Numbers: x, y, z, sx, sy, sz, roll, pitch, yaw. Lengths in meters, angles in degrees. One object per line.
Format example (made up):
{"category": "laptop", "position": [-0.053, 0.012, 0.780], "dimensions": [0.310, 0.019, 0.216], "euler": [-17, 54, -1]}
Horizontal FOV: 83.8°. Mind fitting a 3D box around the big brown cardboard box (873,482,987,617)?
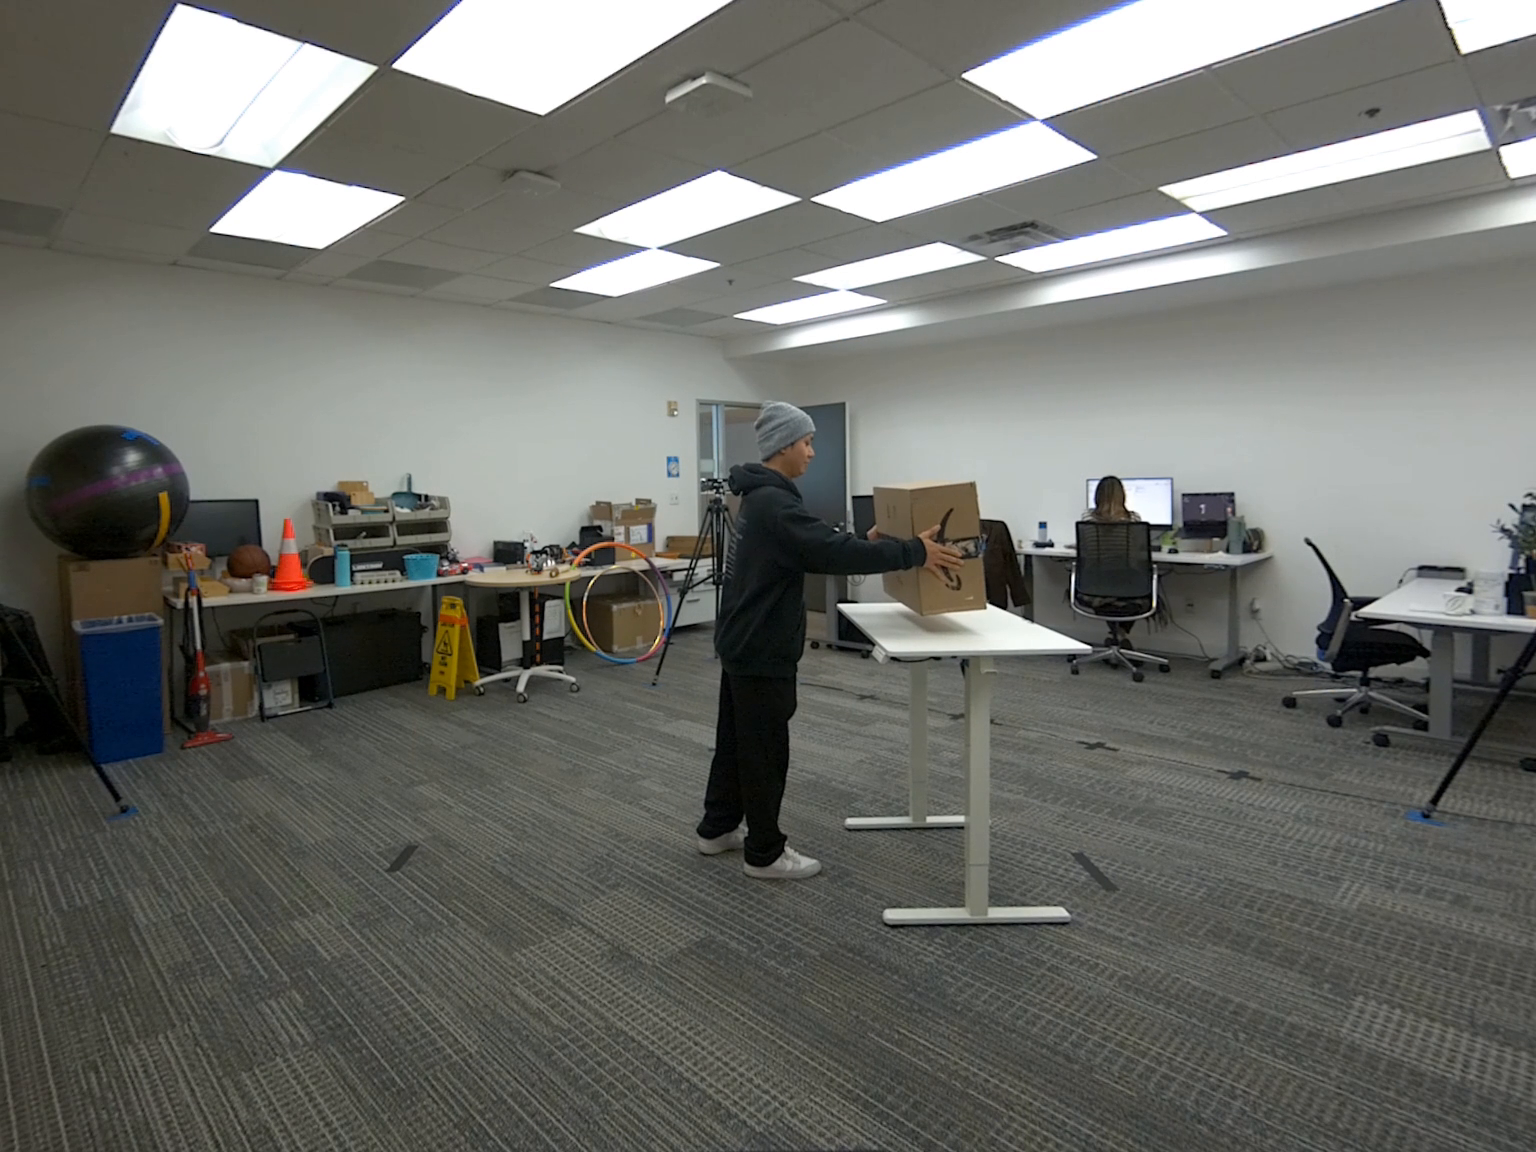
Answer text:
{"category": "big brown cardboard box", "position": [0.553, -0.118, 3.004], "dimensions": [0.232, 0.415, 0.594], "euler": [-7, 7, -4]}
